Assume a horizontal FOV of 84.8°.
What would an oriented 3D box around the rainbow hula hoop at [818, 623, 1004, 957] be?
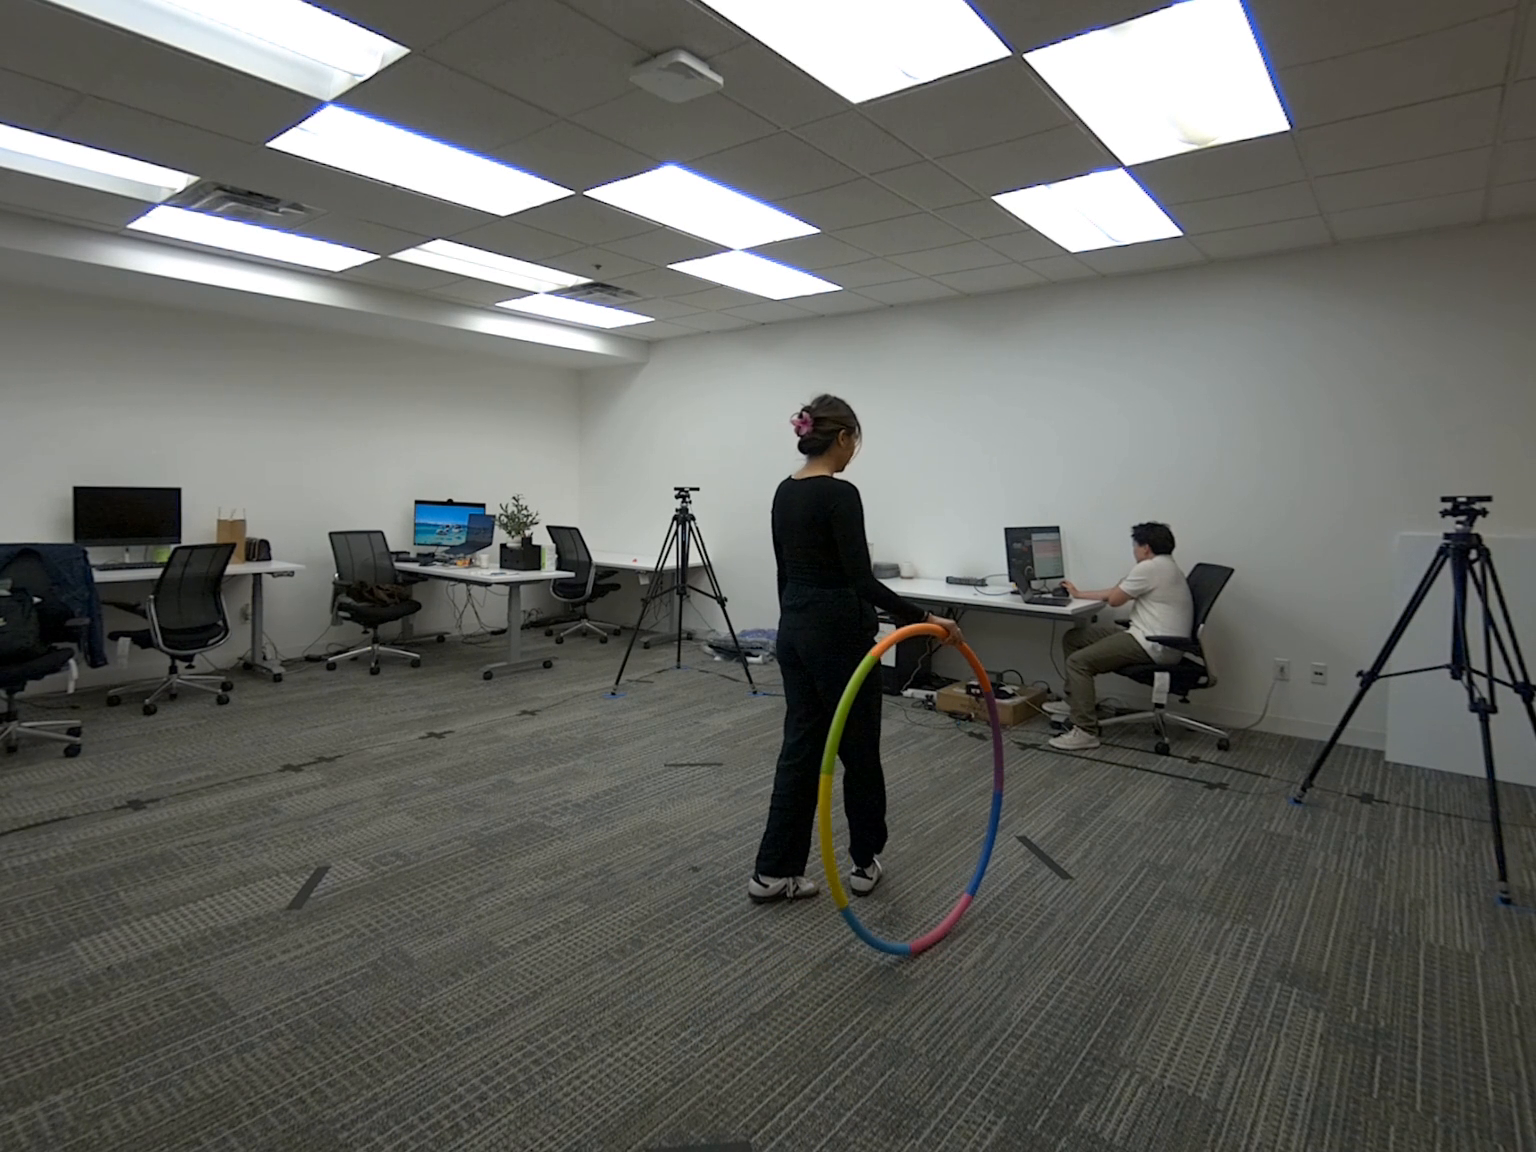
[{"bbox_3d":[0.467,0.645,2.629,0.036,0.979,0.949,-3,0,45],"label":"rainbow hula hoop"}]
